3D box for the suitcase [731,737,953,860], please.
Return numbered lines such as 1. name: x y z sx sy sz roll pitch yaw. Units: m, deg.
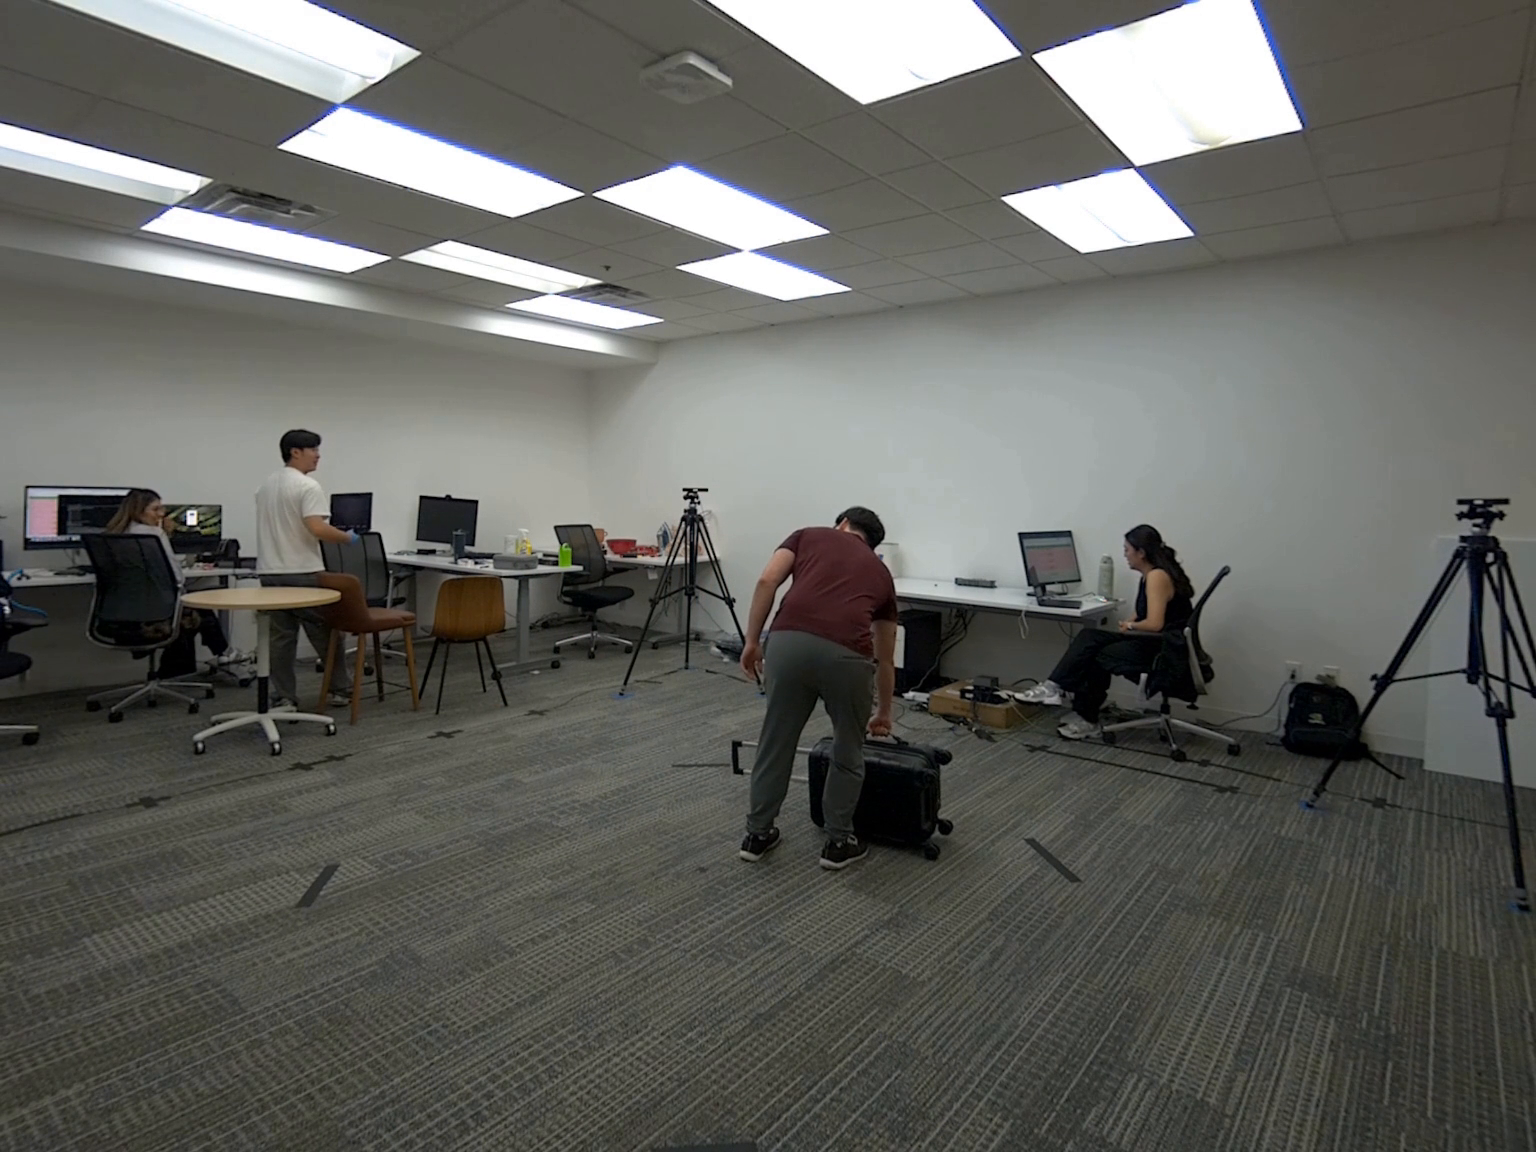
1. suitcase: 0.245 0.839 3.537 1.004 0.381 0.252 3 9 26
